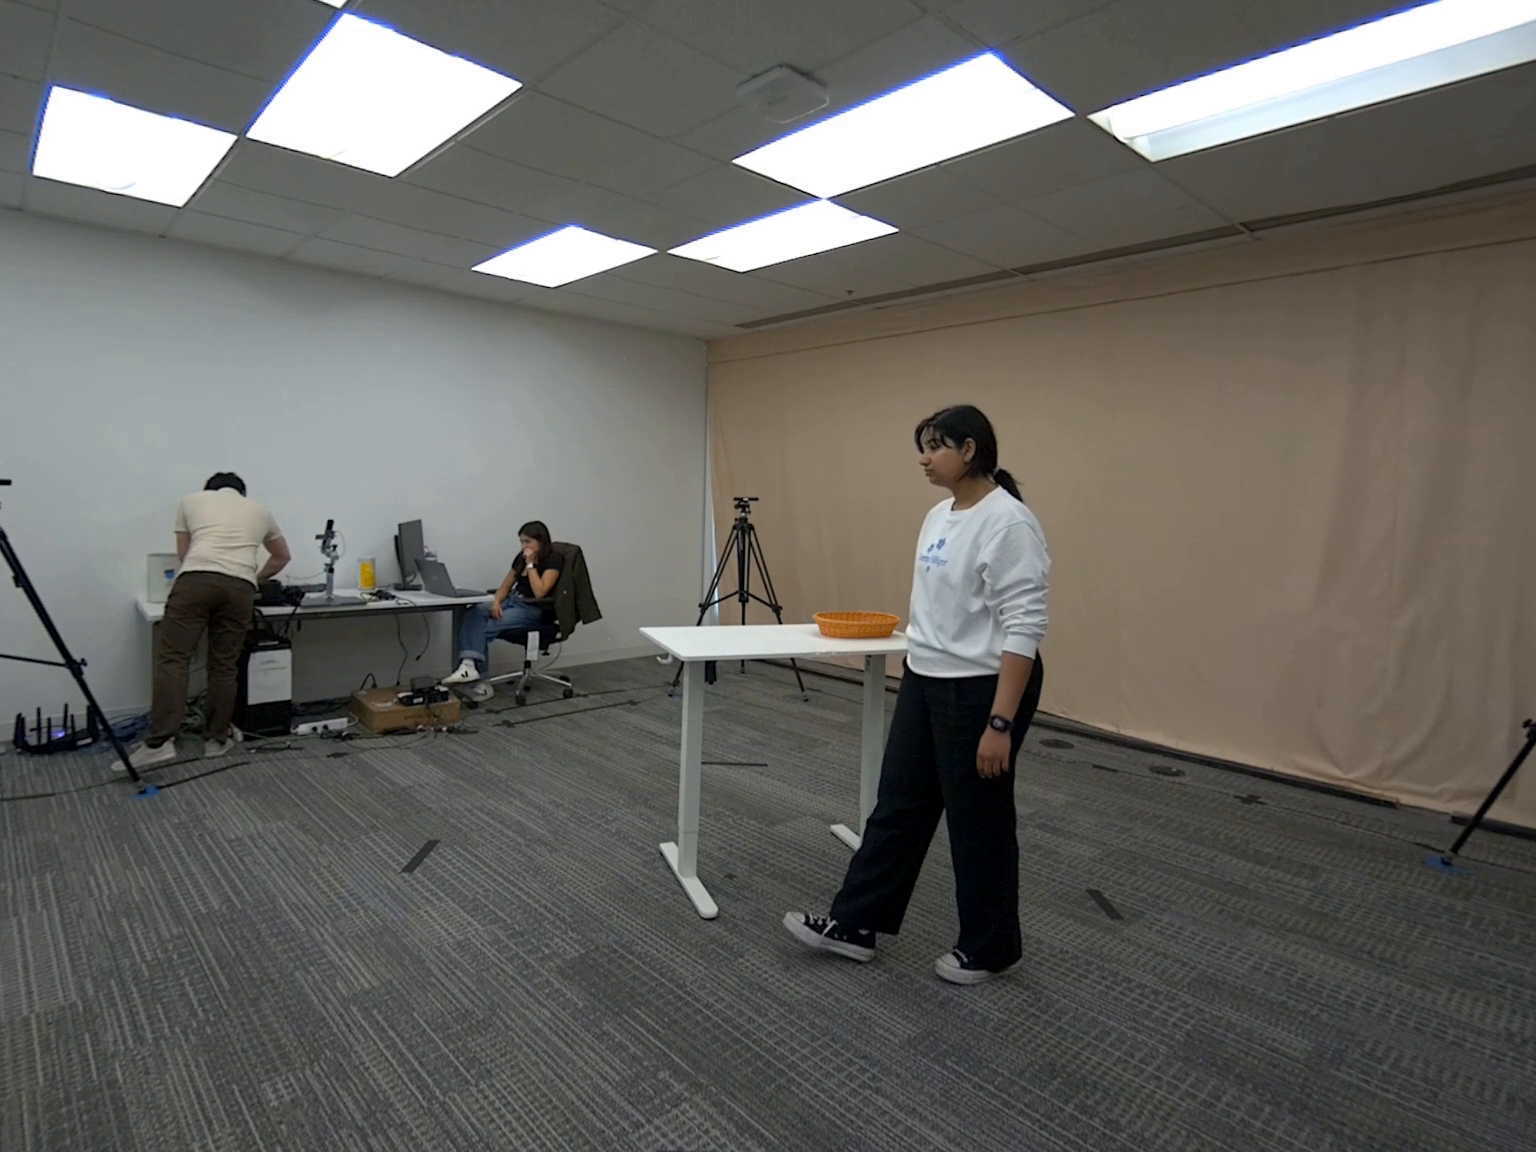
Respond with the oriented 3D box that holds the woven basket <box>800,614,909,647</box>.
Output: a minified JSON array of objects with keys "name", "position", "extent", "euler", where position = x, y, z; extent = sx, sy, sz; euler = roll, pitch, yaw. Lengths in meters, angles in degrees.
[{"name":"woven basket","position":[0.334,0.202,3.212],"extent":[0.346,0.073,0.257],"euler":[0,6,-18]}]
